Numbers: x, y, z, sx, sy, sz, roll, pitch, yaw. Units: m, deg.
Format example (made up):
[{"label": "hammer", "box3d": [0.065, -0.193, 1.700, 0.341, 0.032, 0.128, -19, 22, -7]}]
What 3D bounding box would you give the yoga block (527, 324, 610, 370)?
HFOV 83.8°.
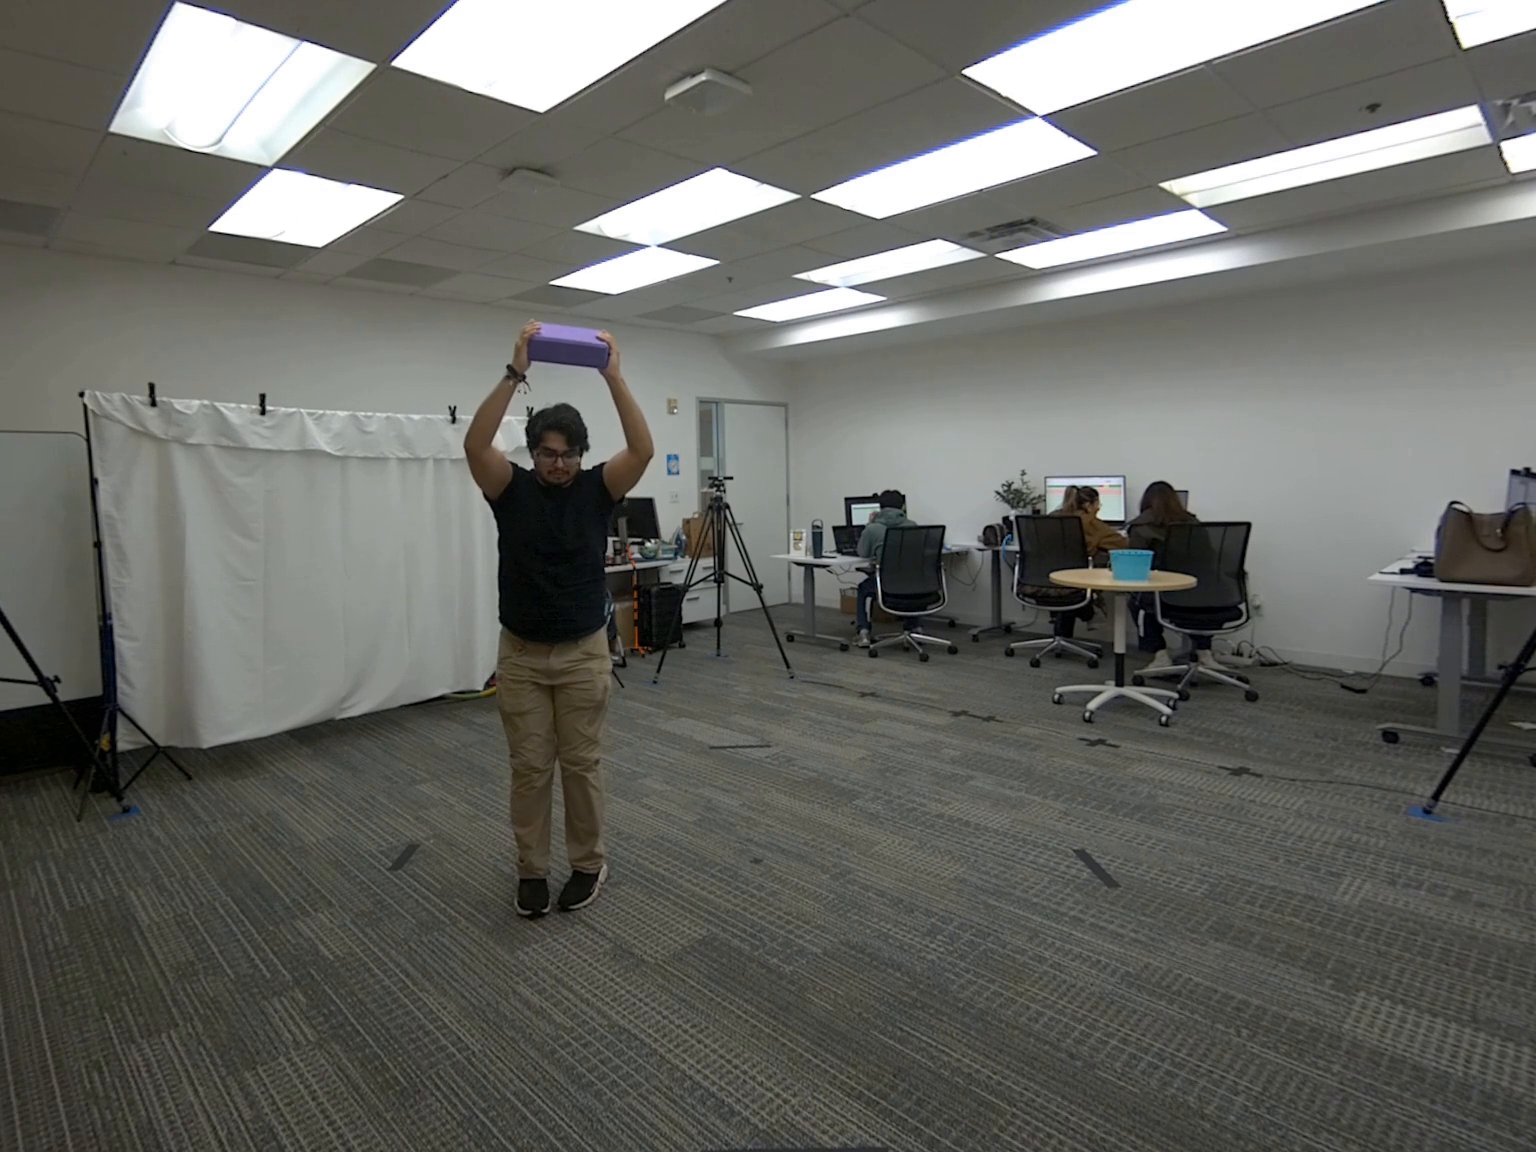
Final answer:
[{"label": "yoga block", "box3d": [-0.595, -0.685, 2.530, 0.226, 0.075, 0.154, 2, 32, -15]}]
